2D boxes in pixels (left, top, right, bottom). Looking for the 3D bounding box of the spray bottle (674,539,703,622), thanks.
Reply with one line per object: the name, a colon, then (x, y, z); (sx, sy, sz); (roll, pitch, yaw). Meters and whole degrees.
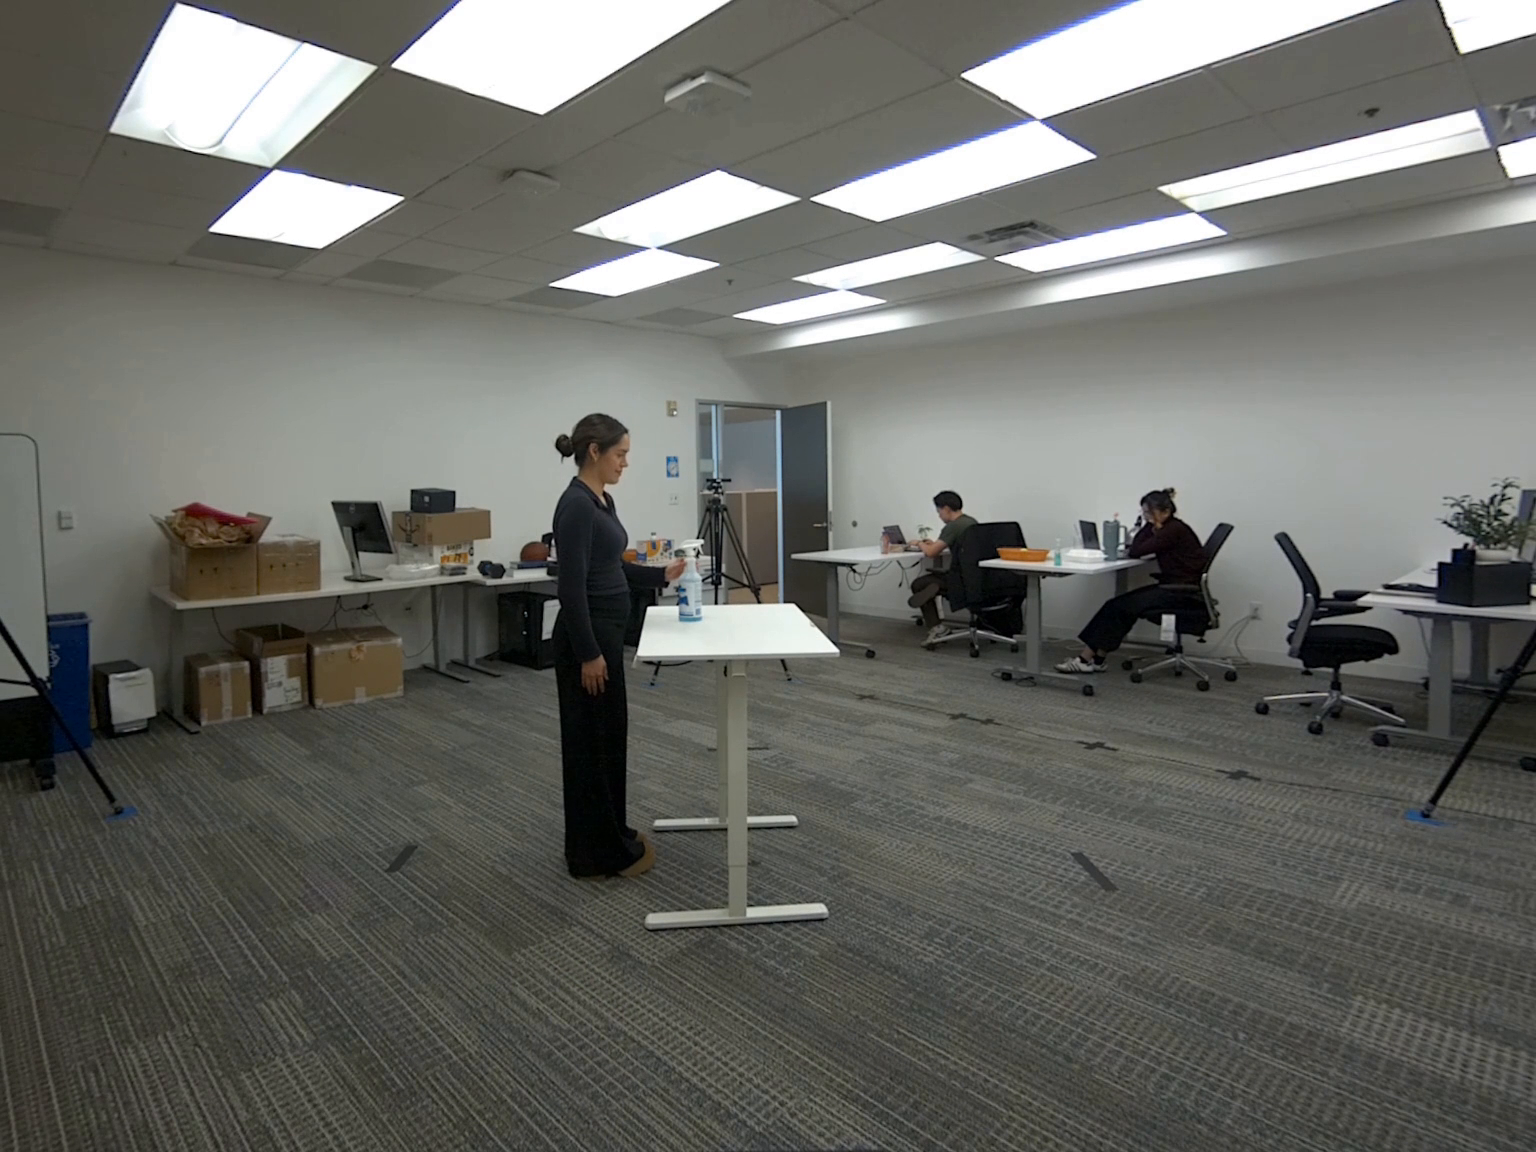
spray bottle: (-0.291, 0.015, 3.136); (0.091, 0.296, 0.086); (2, 4, 16)
